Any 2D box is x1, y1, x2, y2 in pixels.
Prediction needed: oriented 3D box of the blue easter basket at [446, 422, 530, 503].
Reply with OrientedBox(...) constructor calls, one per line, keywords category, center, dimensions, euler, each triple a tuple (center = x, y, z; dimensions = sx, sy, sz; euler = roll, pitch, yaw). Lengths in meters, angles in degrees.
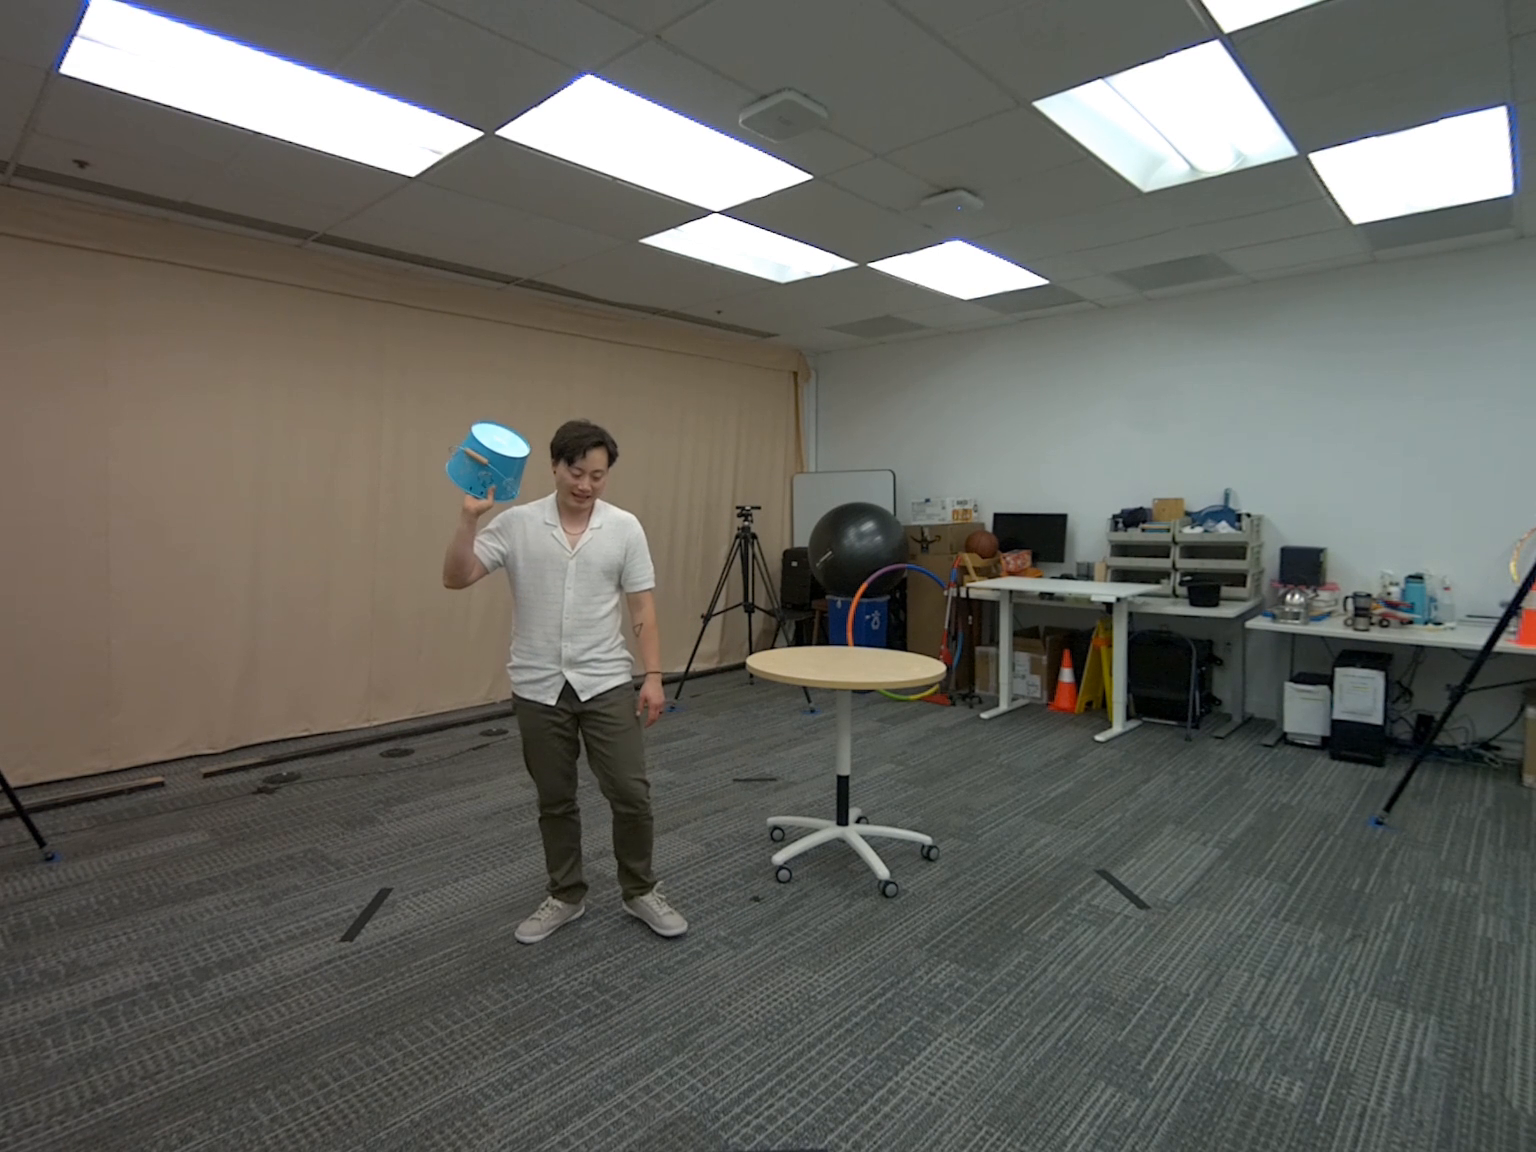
OrientedBox(category="blue easter basket", center=(-0.831, -0.350, 2.526), dimensions=(0.239, 0.156, 0.248), euler=(24, 26, -15))
